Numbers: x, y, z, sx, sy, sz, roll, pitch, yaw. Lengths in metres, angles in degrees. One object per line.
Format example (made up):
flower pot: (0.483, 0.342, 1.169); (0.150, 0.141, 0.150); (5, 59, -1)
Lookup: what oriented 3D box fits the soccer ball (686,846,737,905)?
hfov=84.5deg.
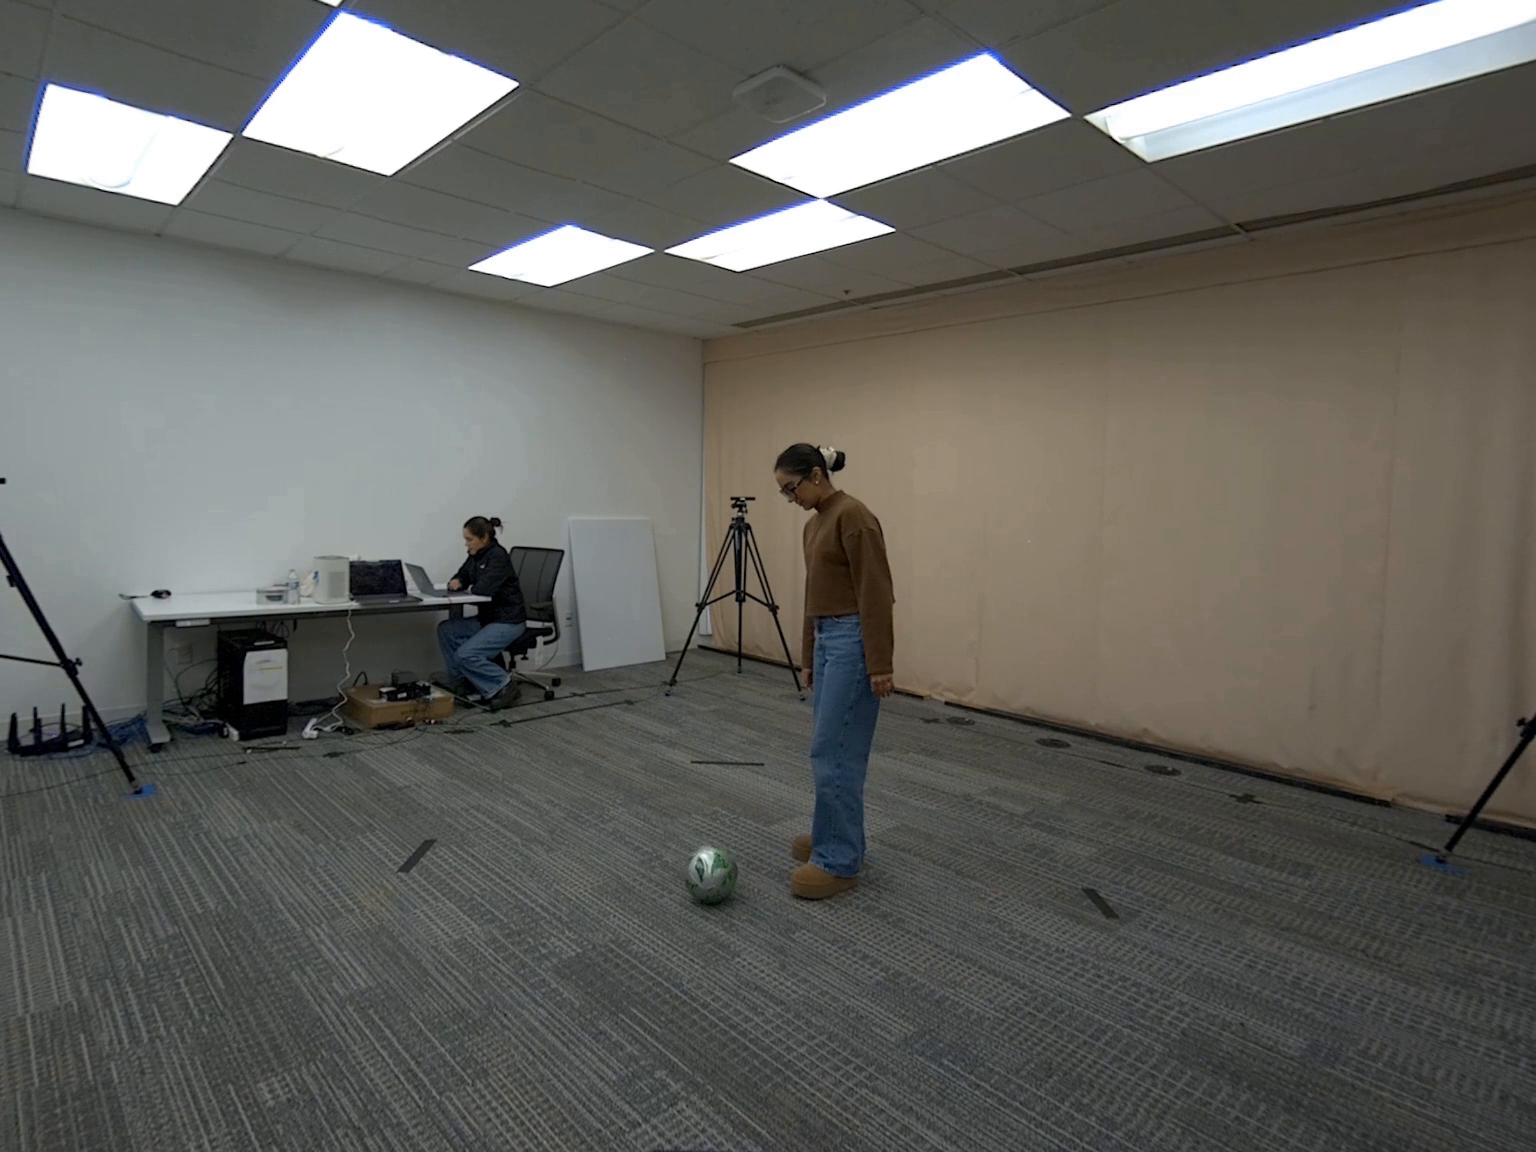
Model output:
soccer ball: (-0.203, 1.031, 2.907); (0.187, 0.187, 0.188); (1, 4, -1)
